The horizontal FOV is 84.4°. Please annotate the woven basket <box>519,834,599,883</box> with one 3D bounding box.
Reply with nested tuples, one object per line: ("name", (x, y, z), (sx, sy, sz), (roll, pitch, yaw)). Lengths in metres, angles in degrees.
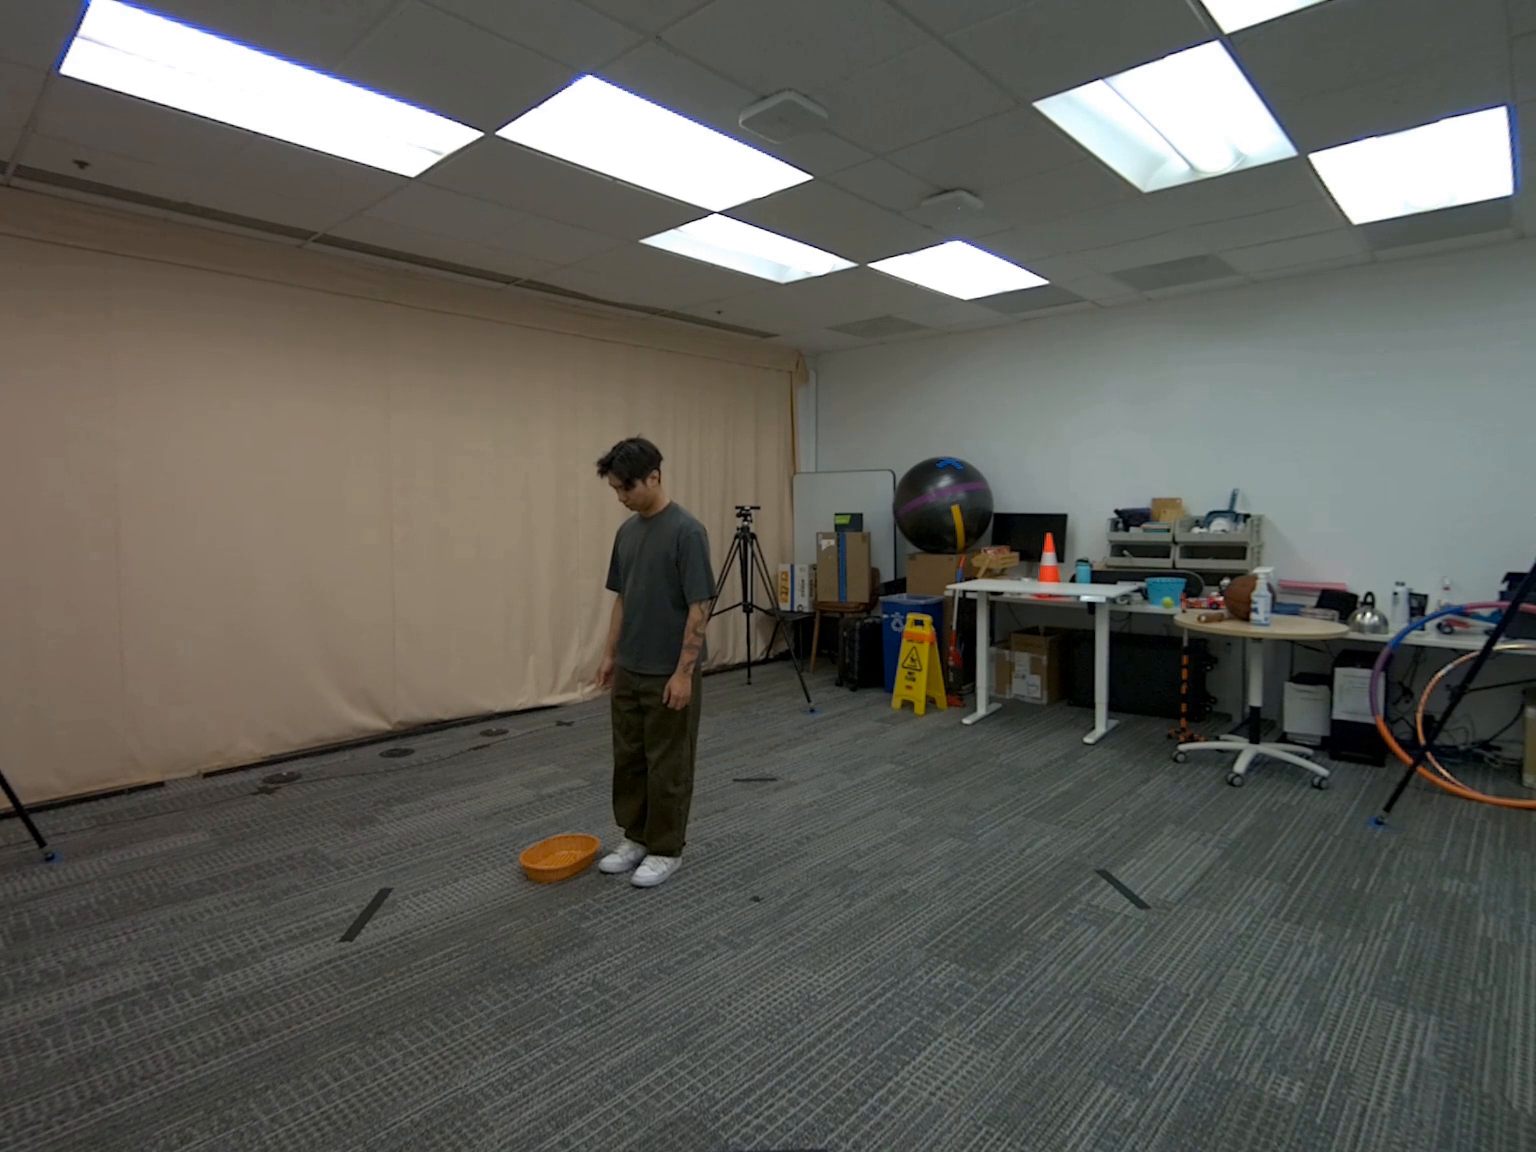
("woven basket", (-0.806, 1.097, 3.262), (0.260, 0.073, 0.341), (1, 5, 31))
